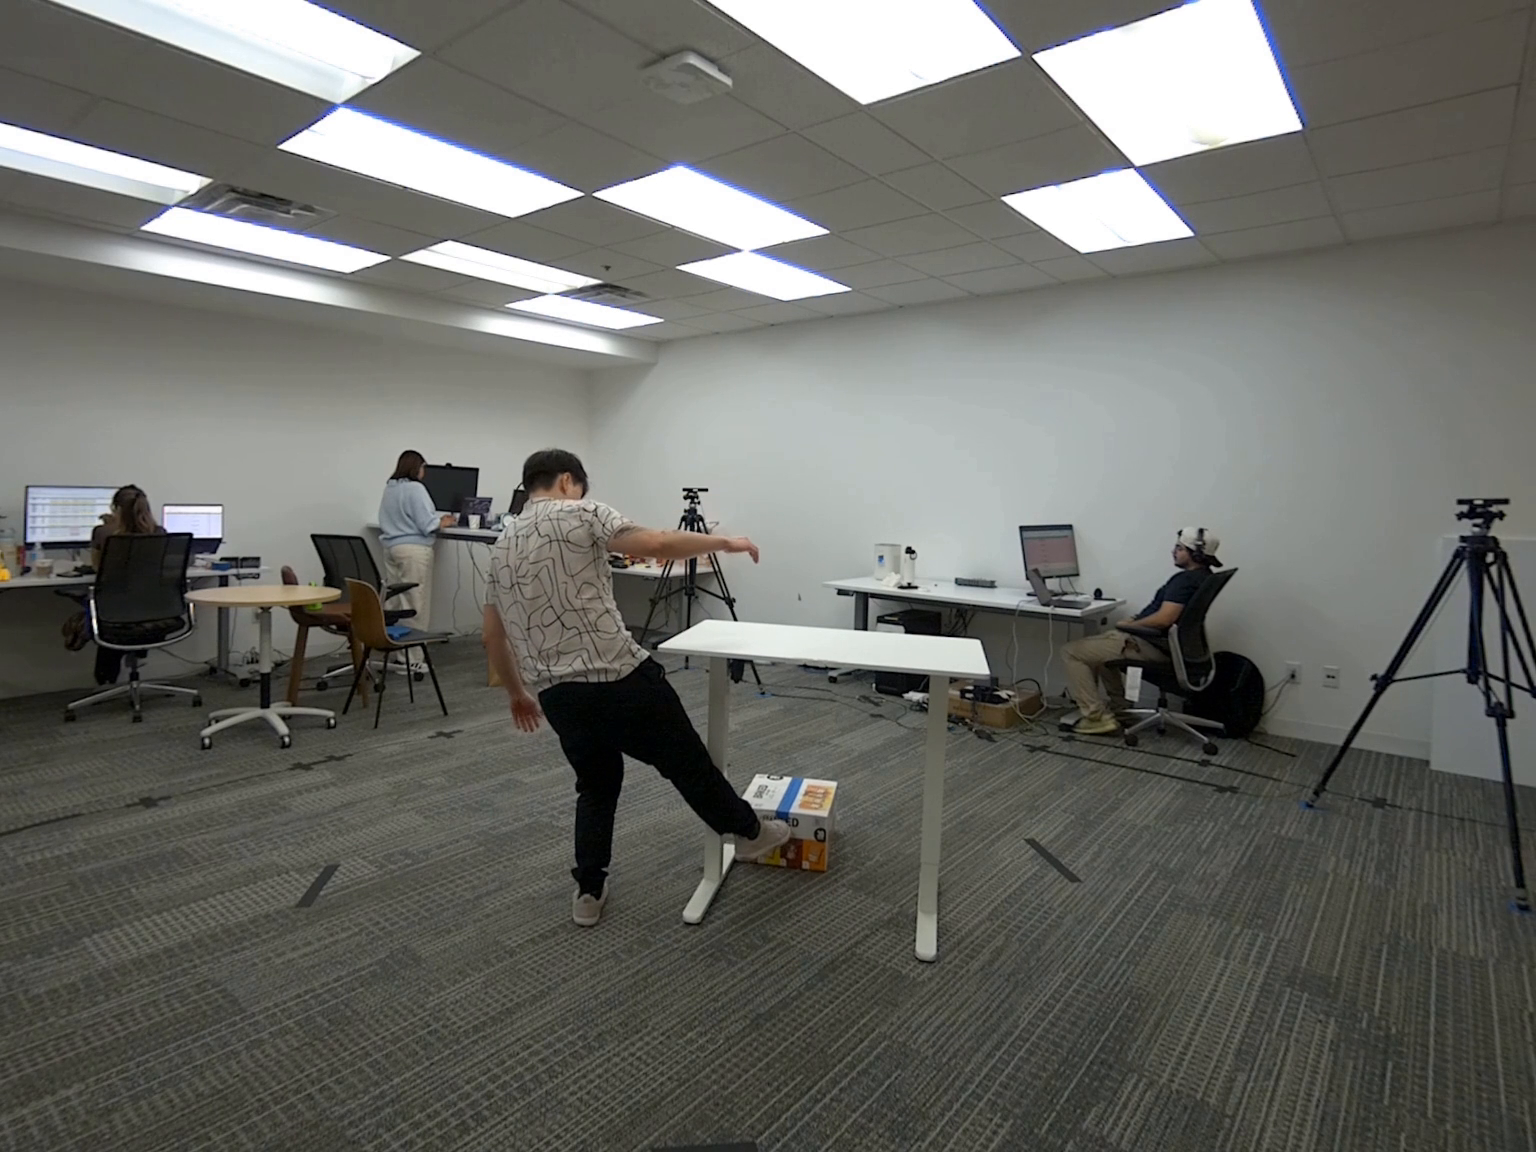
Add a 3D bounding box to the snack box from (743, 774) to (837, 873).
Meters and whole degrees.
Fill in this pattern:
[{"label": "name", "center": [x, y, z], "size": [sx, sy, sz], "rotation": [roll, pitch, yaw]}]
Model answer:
[{"label": "snack box", "center": [0.074, 0.951, 3.327], "size": [0.345, 0.205, 0.401], "rotation": [2, 5, 12]}]
